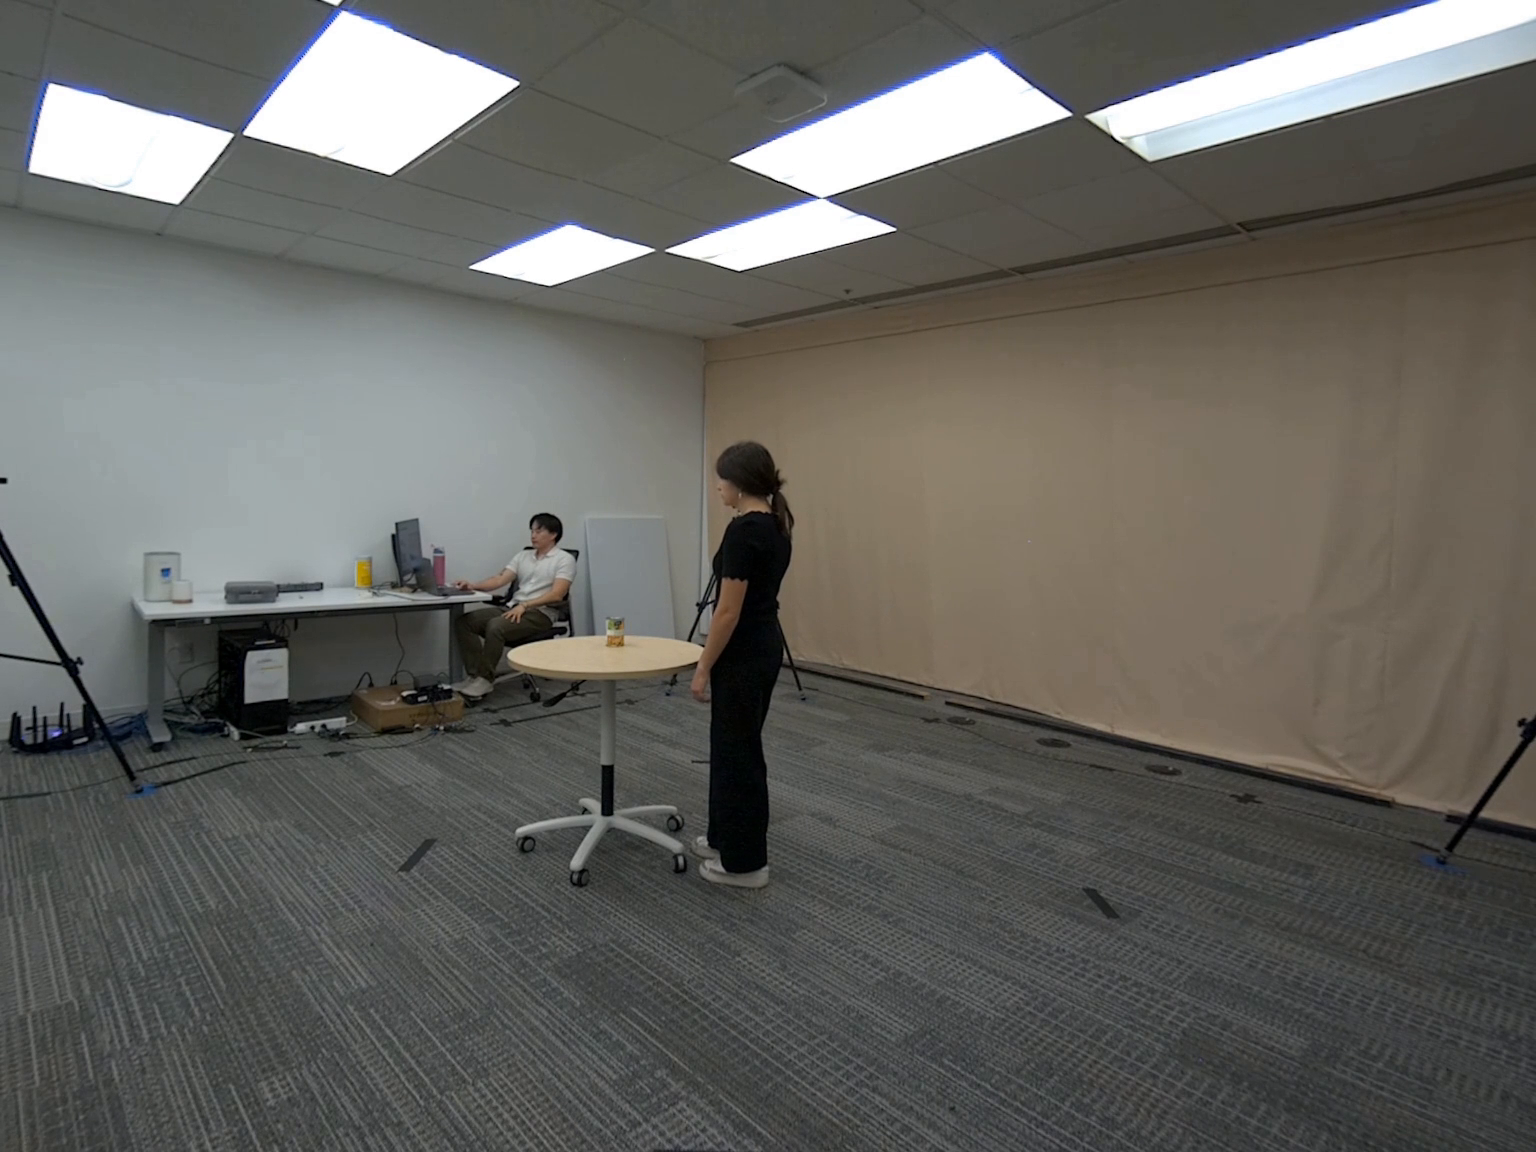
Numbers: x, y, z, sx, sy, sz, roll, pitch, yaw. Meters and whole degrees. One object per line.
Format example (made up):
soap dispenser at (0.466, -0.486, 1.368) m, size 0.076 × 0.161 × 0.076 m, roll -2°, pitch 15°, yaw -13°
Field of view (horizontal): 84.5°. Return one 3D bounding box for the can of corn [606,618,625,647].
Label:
can of corn at (-0.633, 0.227, 3.415) m, size 0.074 × 0.111 × 0.074 m, roll 1°, pitch 2°, yaw -1°
